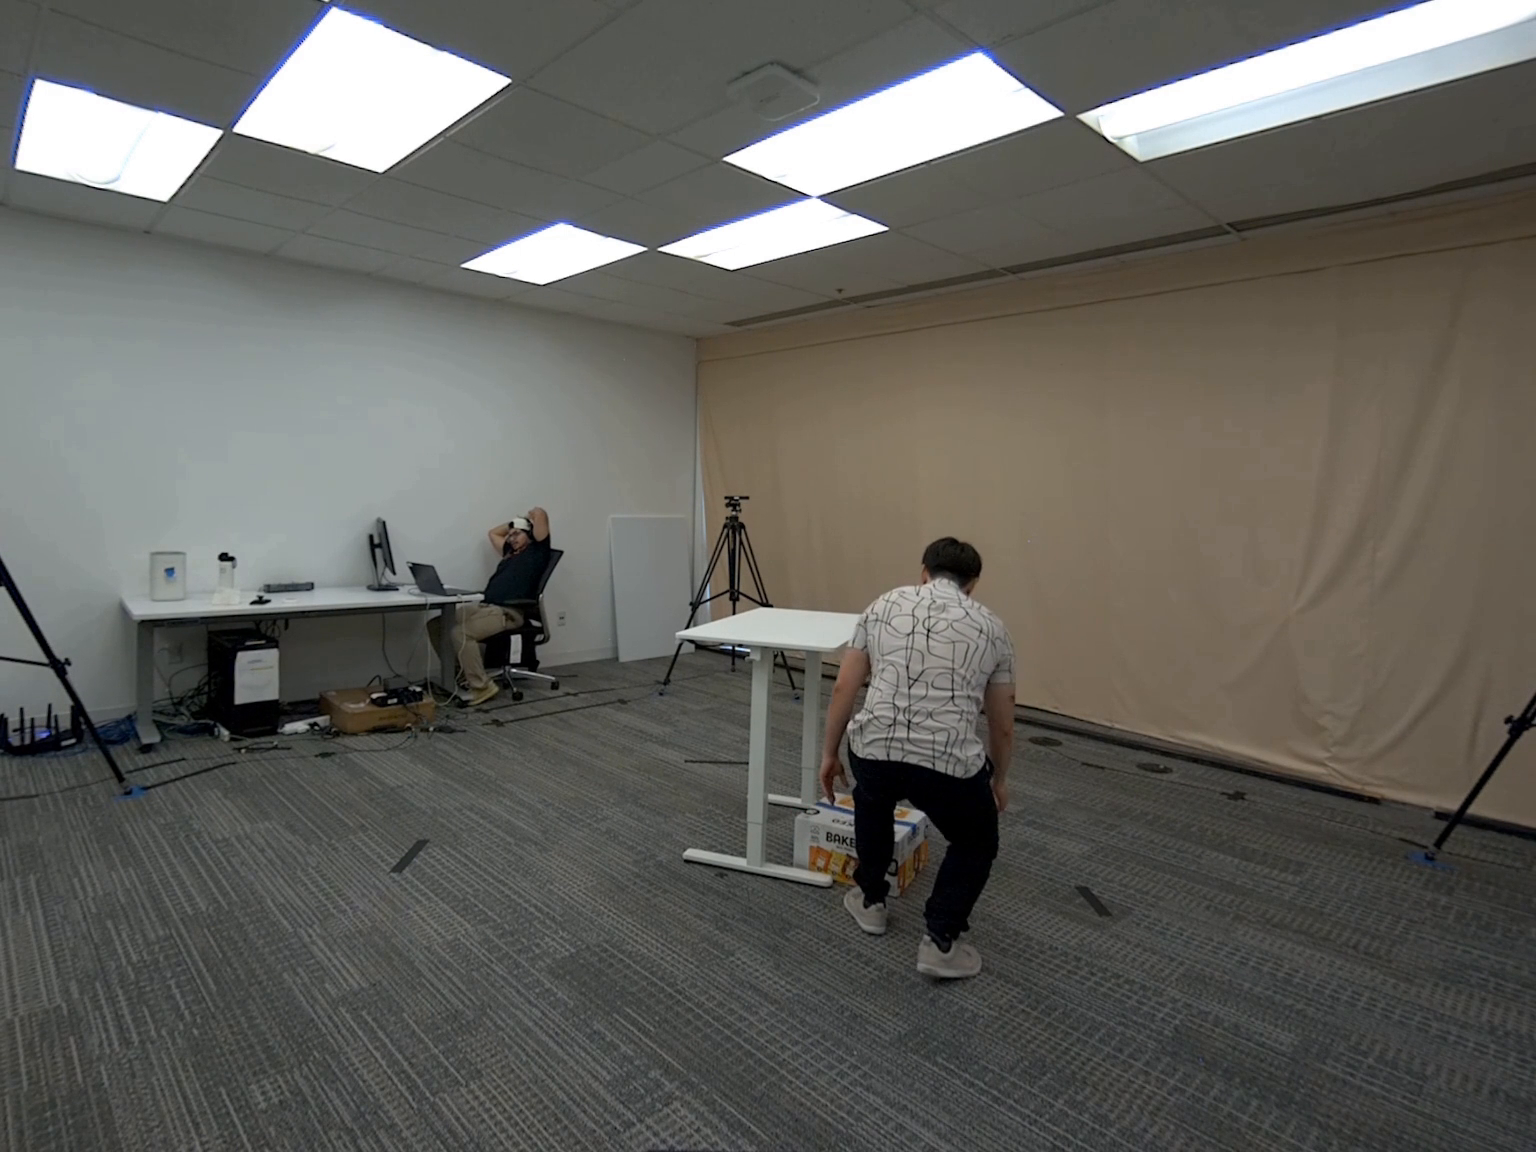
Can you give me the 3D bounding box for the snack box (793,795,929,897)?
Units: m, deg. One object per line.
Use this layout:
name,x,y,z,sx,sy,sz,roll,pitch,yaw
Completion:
snack box,0.348,1.007,3.192,0.414,0.205,0.334,4,4,28
